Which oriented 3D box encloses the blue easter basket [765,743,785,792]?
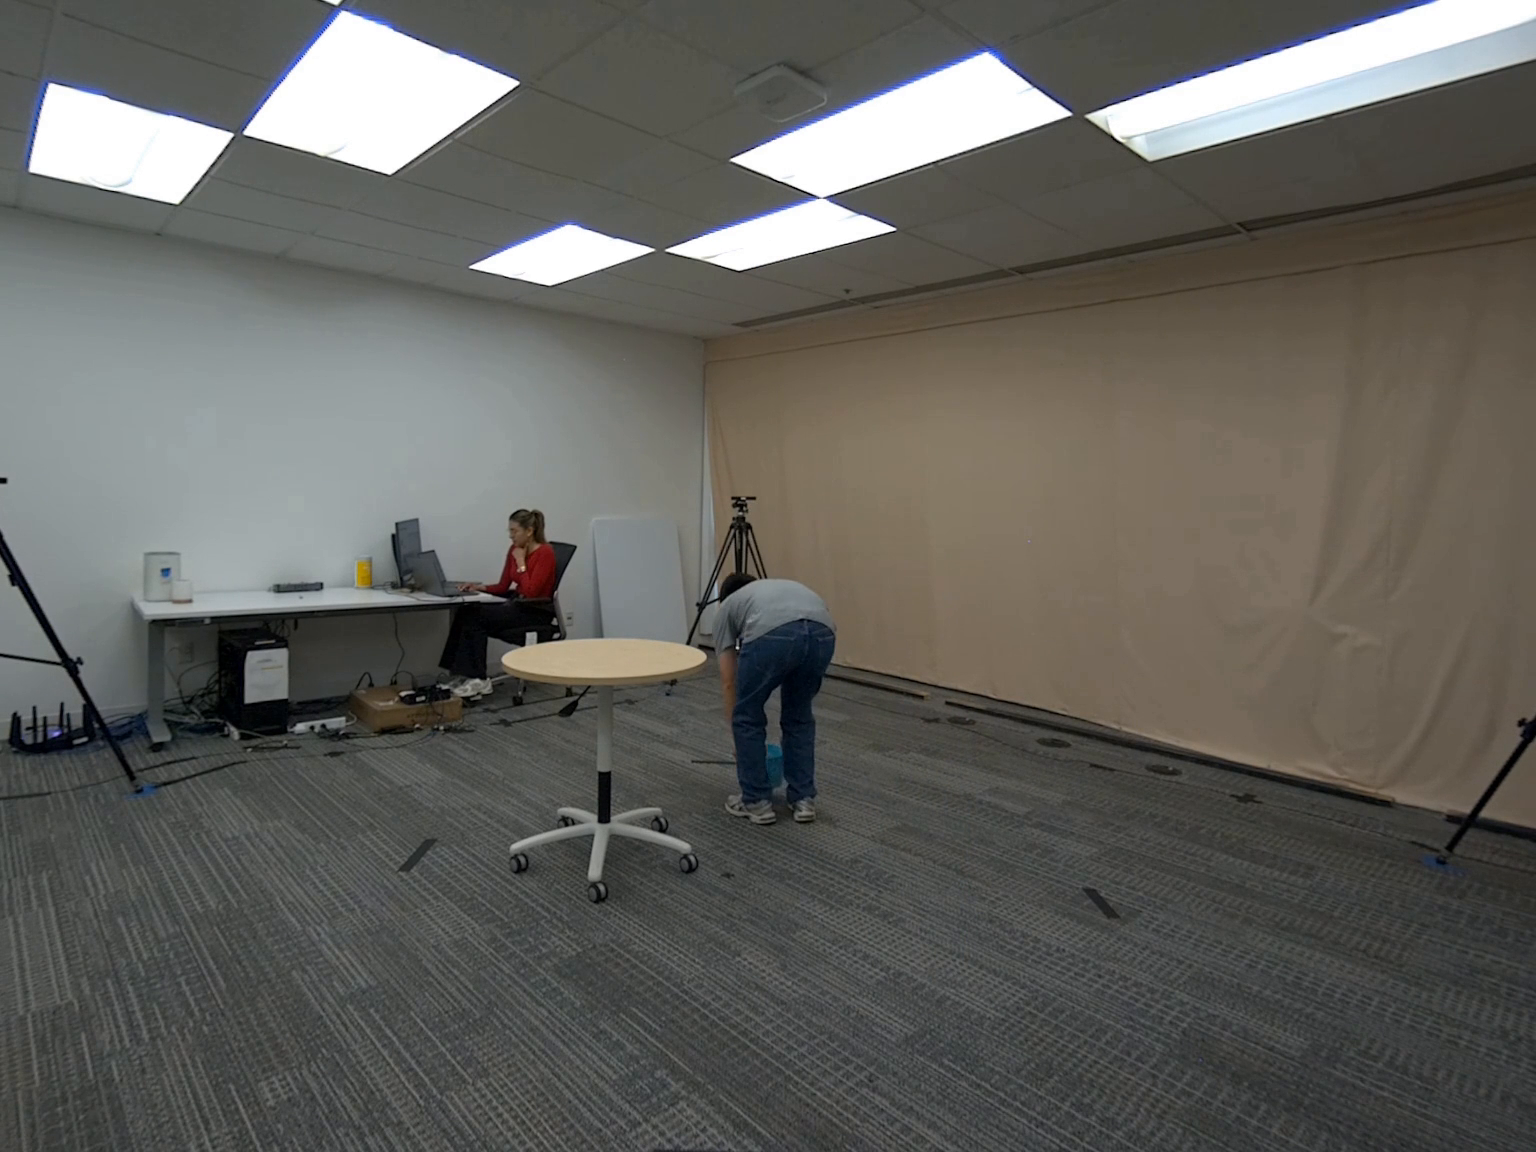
[{"bbox_3d":[-0.021,0.876,3.915,0.243,0.155,0.244,1,4,-1],"label":"blue easter basket"}]
